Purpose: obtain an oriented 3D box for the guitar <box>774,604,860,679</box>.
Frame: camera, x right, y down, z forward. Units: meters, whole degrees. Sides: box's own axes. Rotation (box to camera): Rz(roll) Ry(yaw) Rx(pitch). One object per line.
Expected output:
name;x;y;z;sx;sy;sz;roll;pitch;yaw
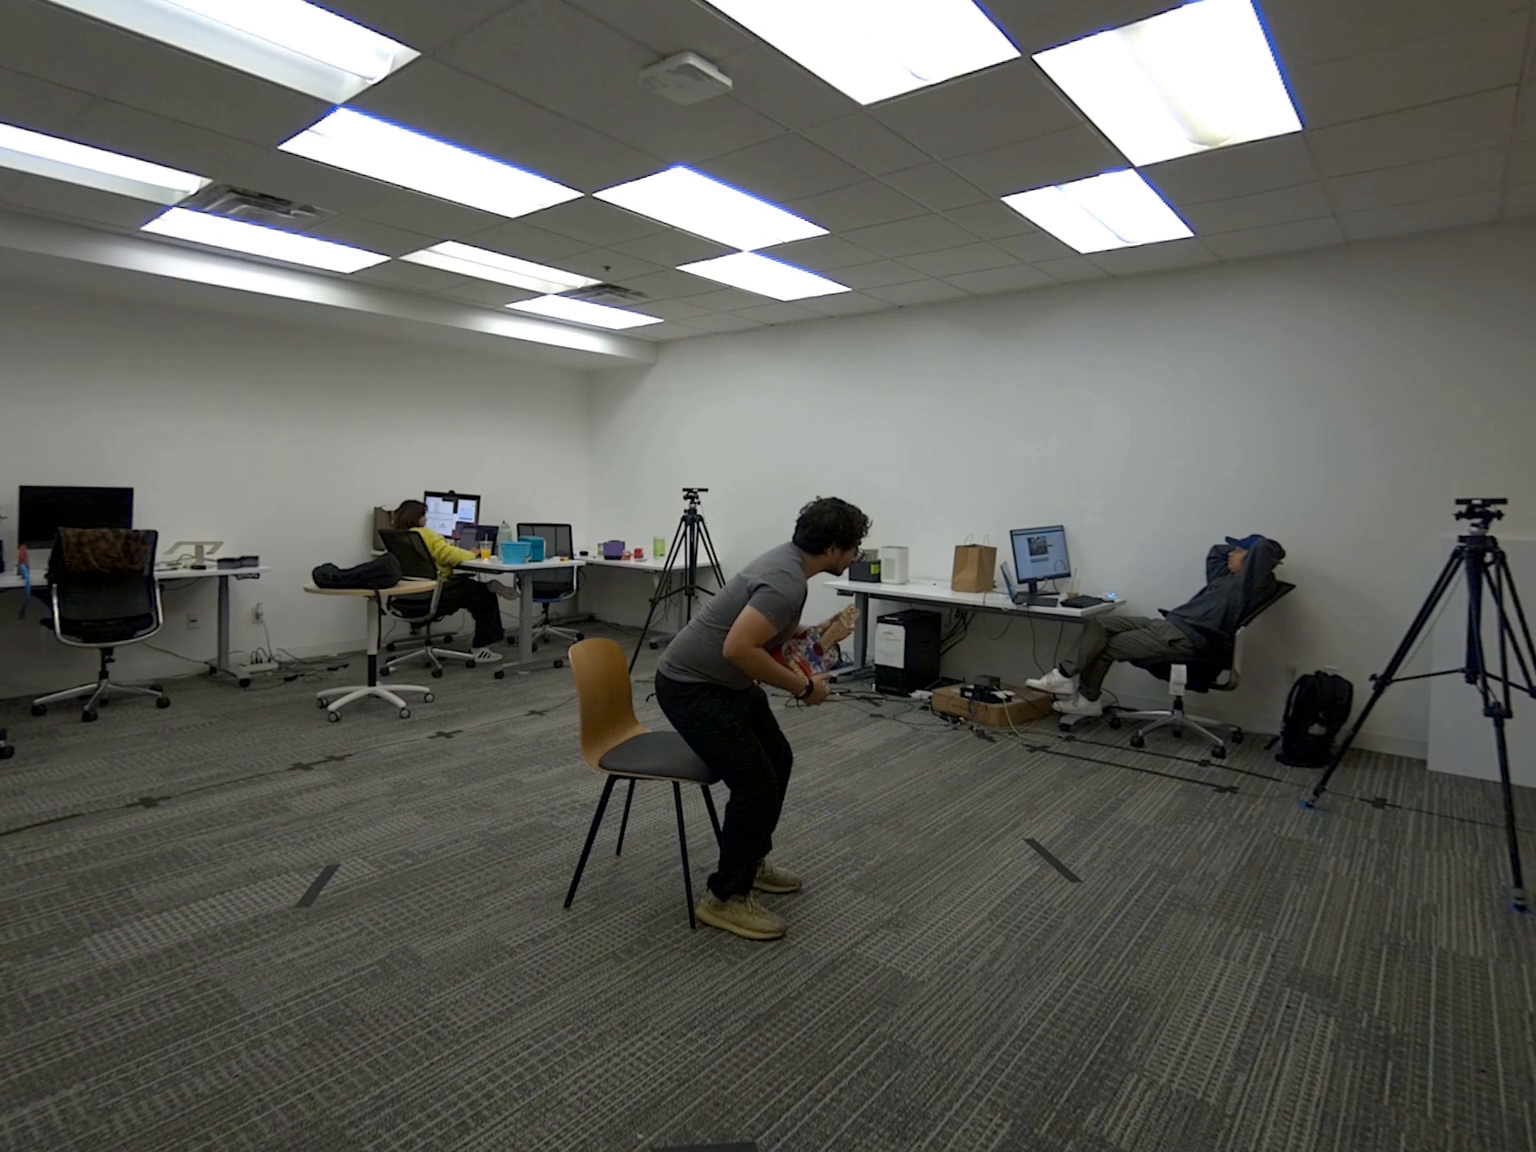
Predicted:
guitar;0.191;0.242;2.837;0.071;0.195;0.489;-40;-9;39
